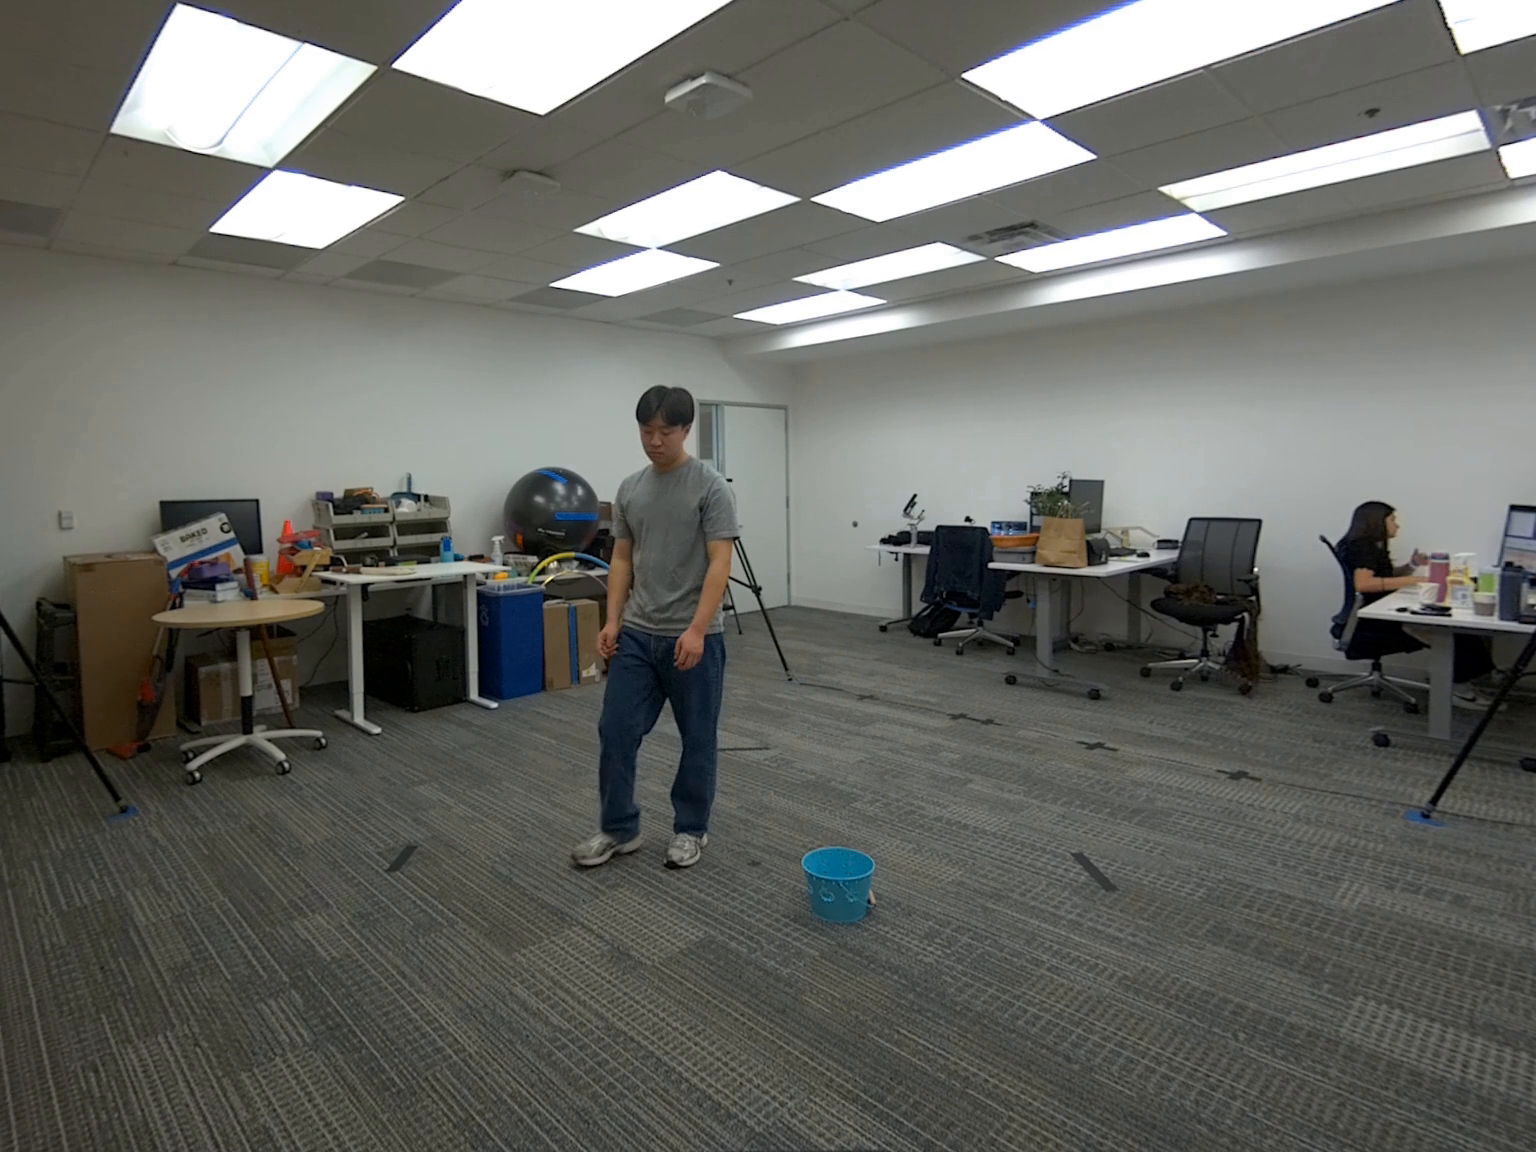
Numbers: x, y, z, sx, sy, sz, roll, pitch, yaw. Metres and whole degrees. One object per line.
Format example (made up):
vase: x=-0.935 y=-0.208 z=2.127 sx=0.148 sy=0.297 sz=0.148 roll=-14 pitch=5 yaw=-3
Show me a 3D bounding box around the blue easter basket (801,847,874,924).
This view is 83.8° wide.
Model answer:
blue easter basket: x=0.238 y=1.003 z=2.760 sx=0.243 sy=0.155 sz=0.245 roll=-1 pitch=5 yaw=-2
